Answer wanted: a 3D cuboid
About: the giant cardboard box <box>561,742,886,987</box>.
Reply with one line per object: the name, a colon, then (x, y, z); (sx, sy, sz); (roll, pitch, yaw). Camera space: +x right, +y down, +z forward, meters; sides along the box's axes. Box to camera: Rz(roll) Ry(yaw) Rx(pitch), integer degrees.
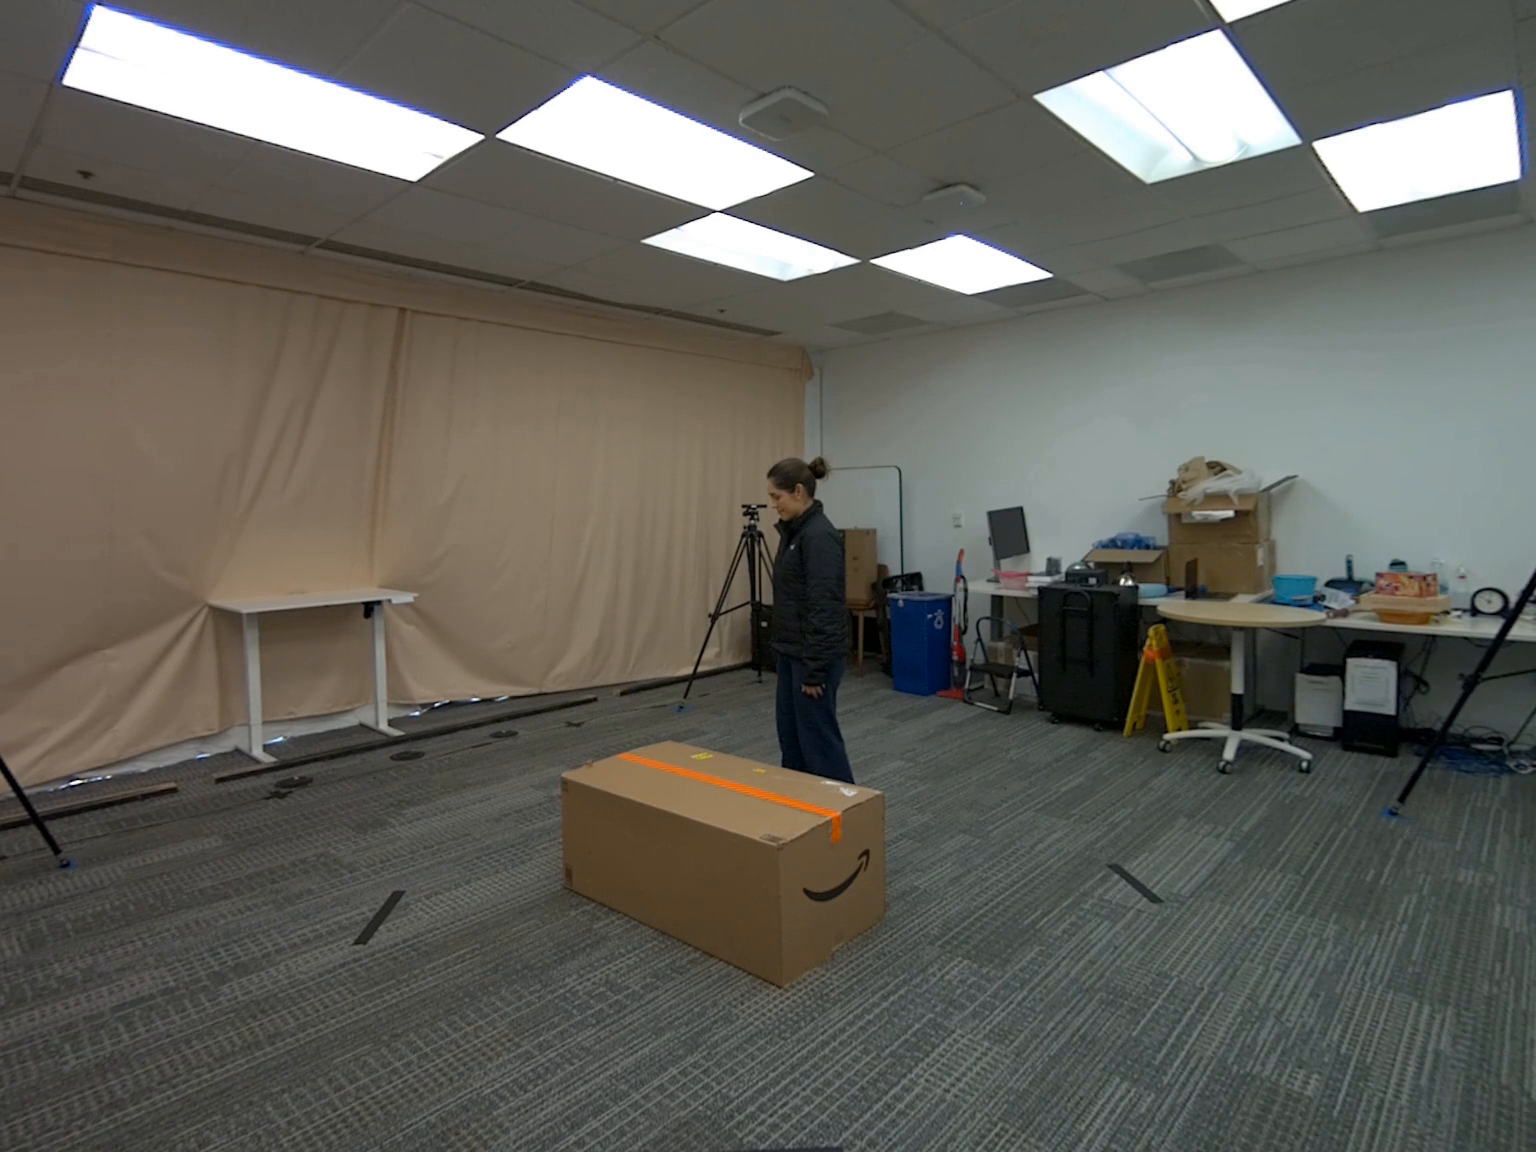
giant cardboard box: (-0.171, 0.932, 2.954); (1.059, 0.425, 0.560); (3, 5, 40)
